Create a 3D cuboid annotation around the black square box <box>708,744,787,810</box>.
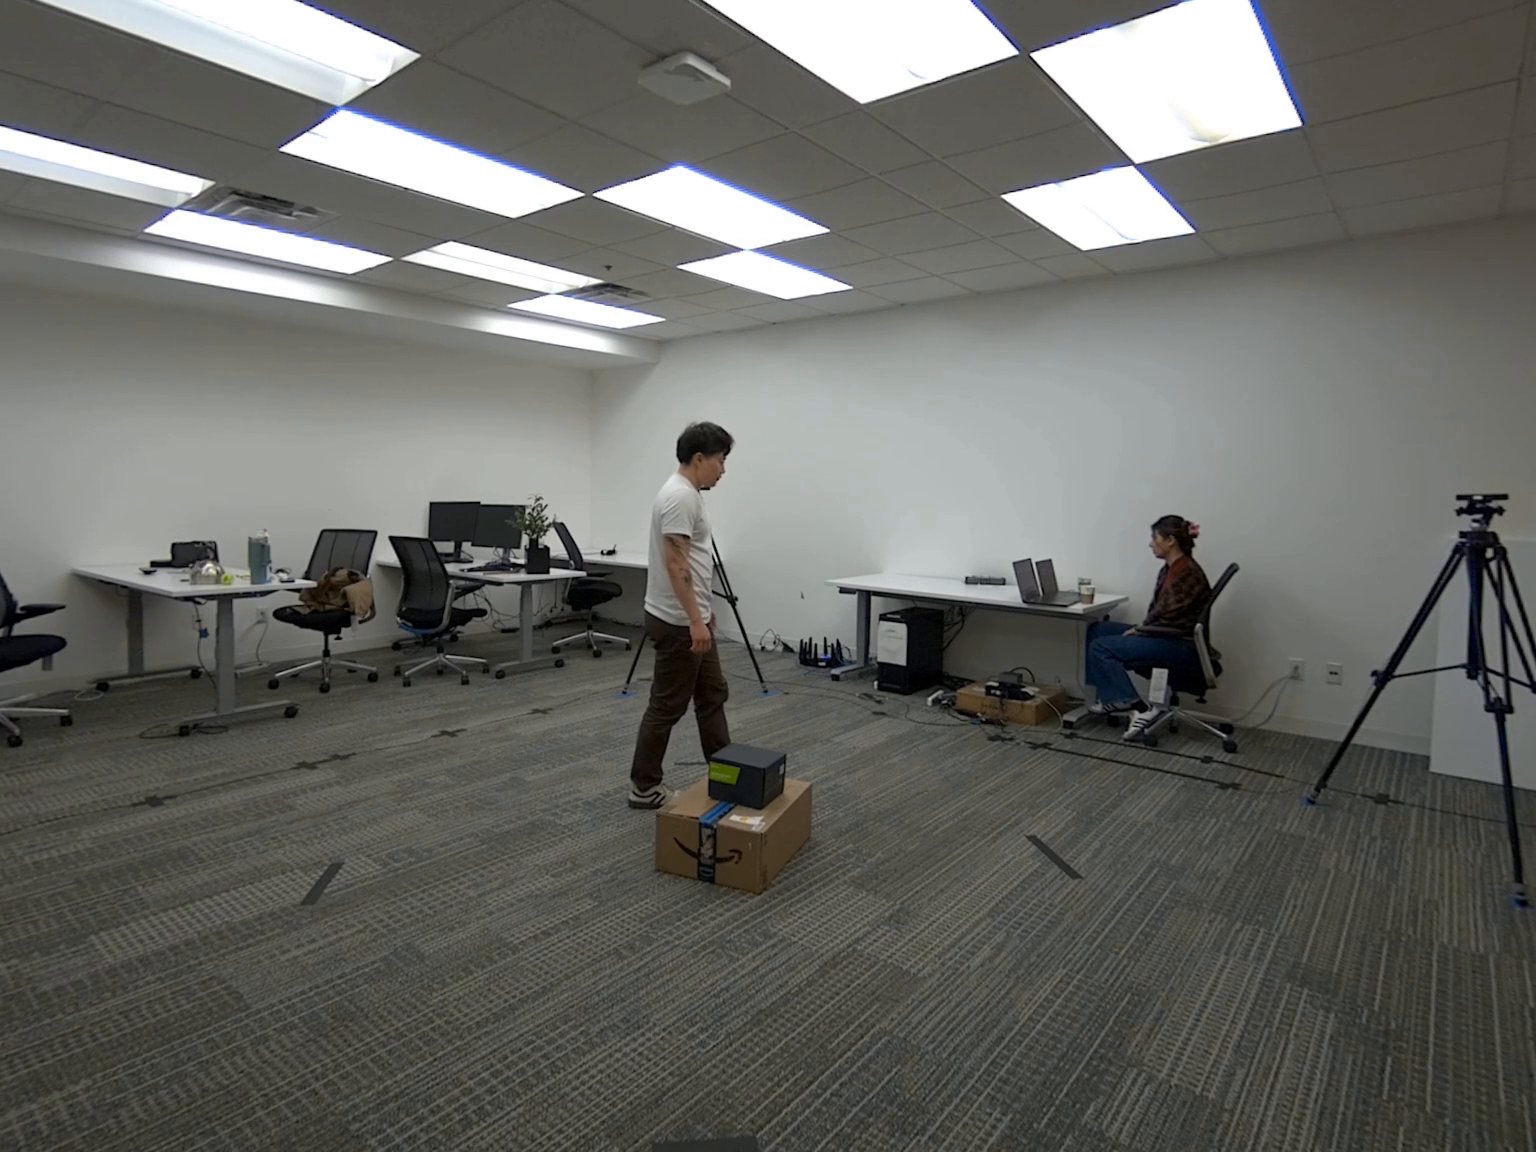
[{"bbox_3d":[-0.090,0.751,3.245,0.234,0.155,0.212,6,6,24],"label":"black square box"}]
